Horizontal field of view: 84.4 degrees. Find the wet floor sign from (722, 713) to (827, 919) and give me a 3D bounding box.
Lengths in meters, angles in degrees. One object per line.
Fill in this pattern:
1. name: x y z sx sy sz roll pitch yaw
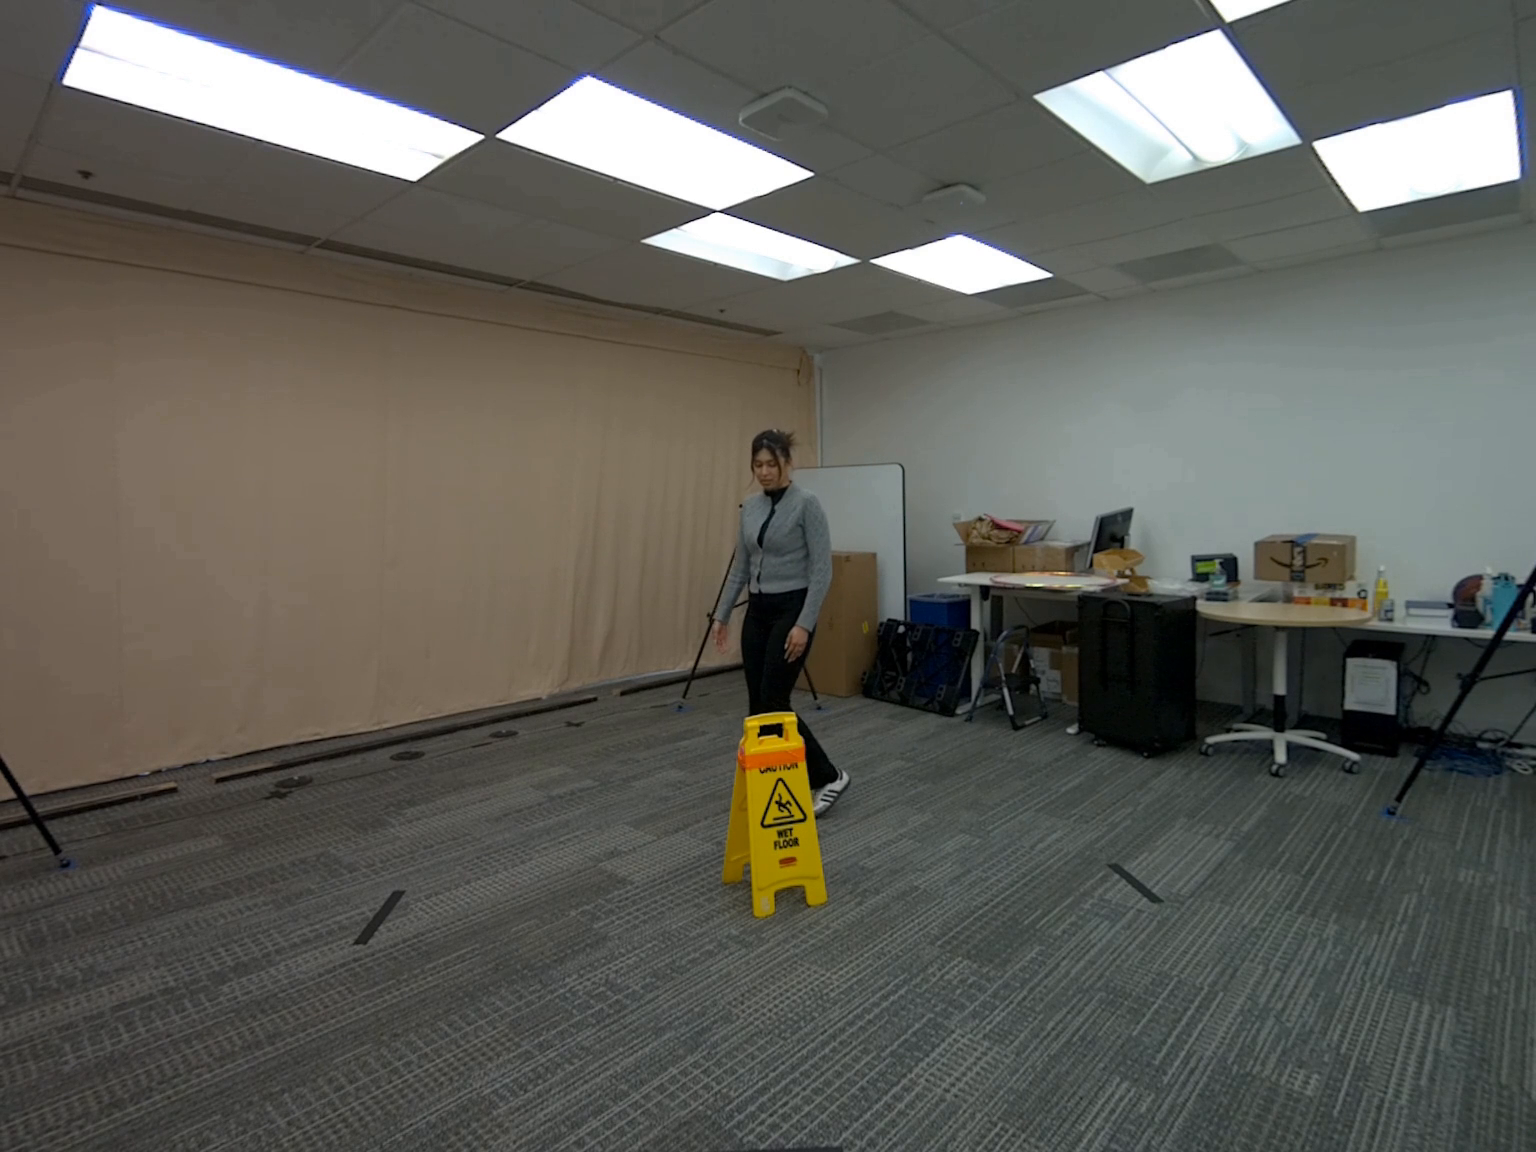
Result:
1. wet floor sign: 0.016 0.808 3.002 0.276 0.644 0.297 -4 5 -24
